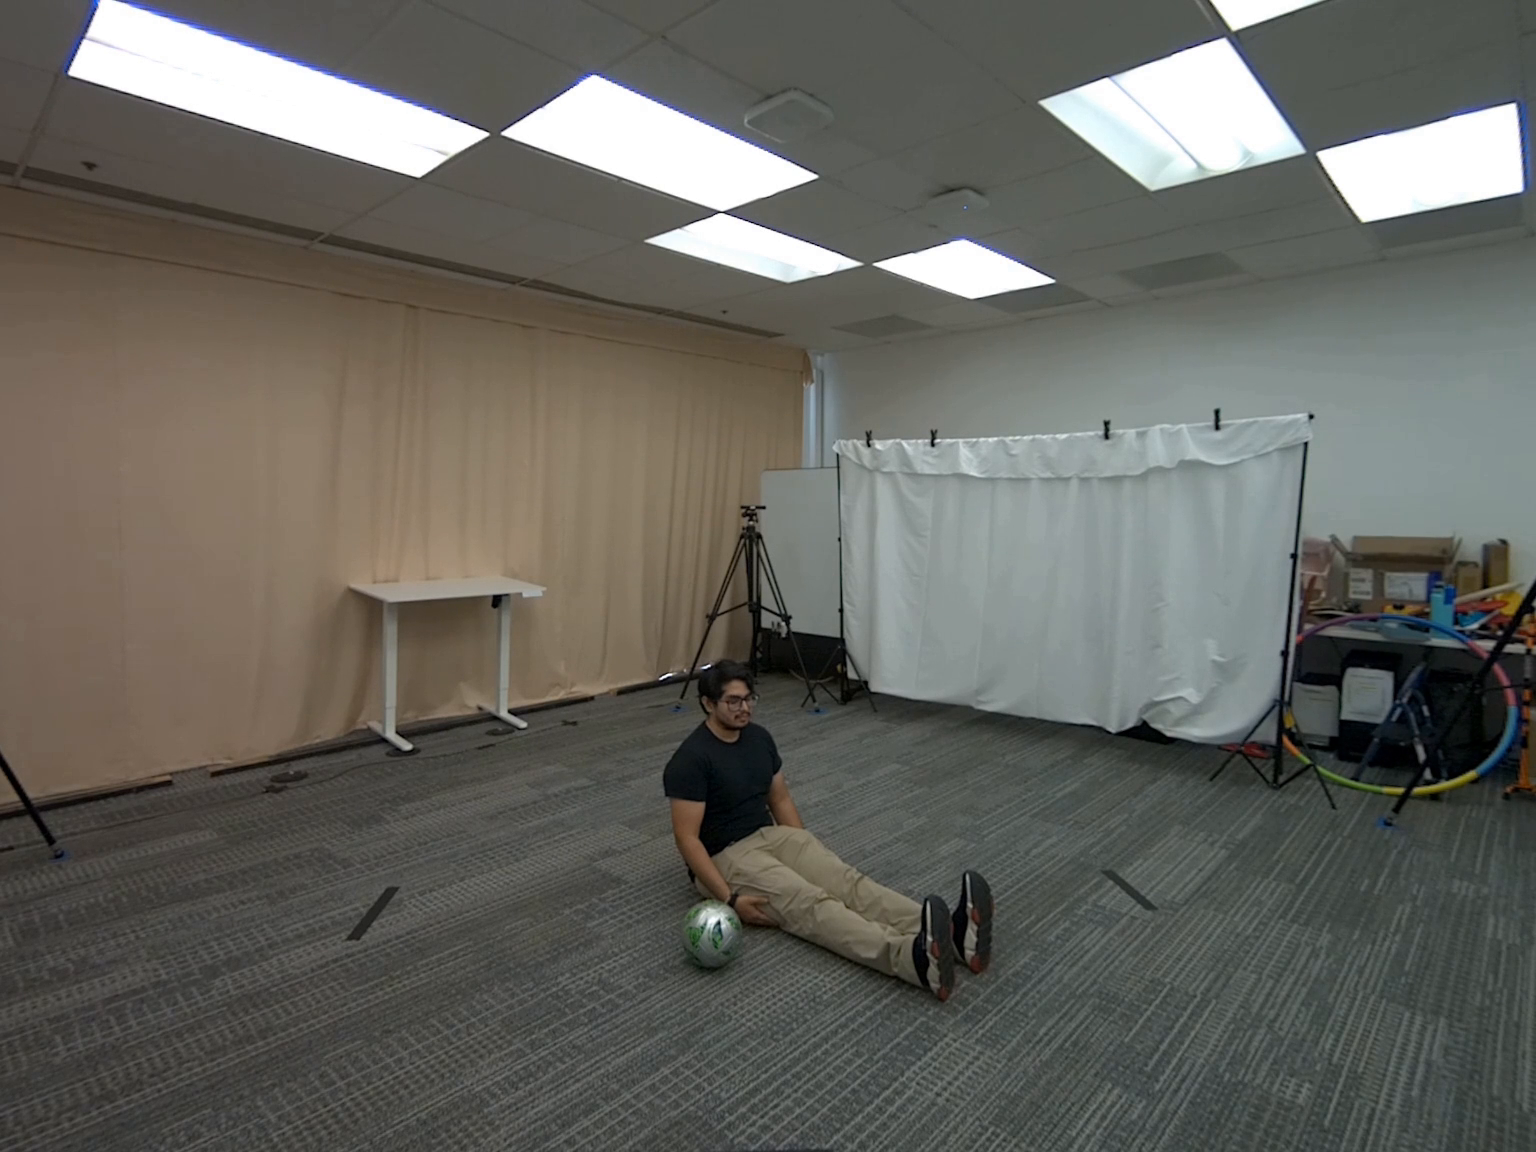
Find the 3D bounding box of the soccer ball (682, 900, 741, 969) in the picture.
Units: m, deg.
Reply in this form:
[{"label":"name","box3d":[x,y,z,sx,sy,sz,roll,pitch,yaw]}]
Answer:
[{"label":"soccer ball","box3d":[-0.167,1.079,2.563,0.187,0.187,0.188,0,4,-2]}]
